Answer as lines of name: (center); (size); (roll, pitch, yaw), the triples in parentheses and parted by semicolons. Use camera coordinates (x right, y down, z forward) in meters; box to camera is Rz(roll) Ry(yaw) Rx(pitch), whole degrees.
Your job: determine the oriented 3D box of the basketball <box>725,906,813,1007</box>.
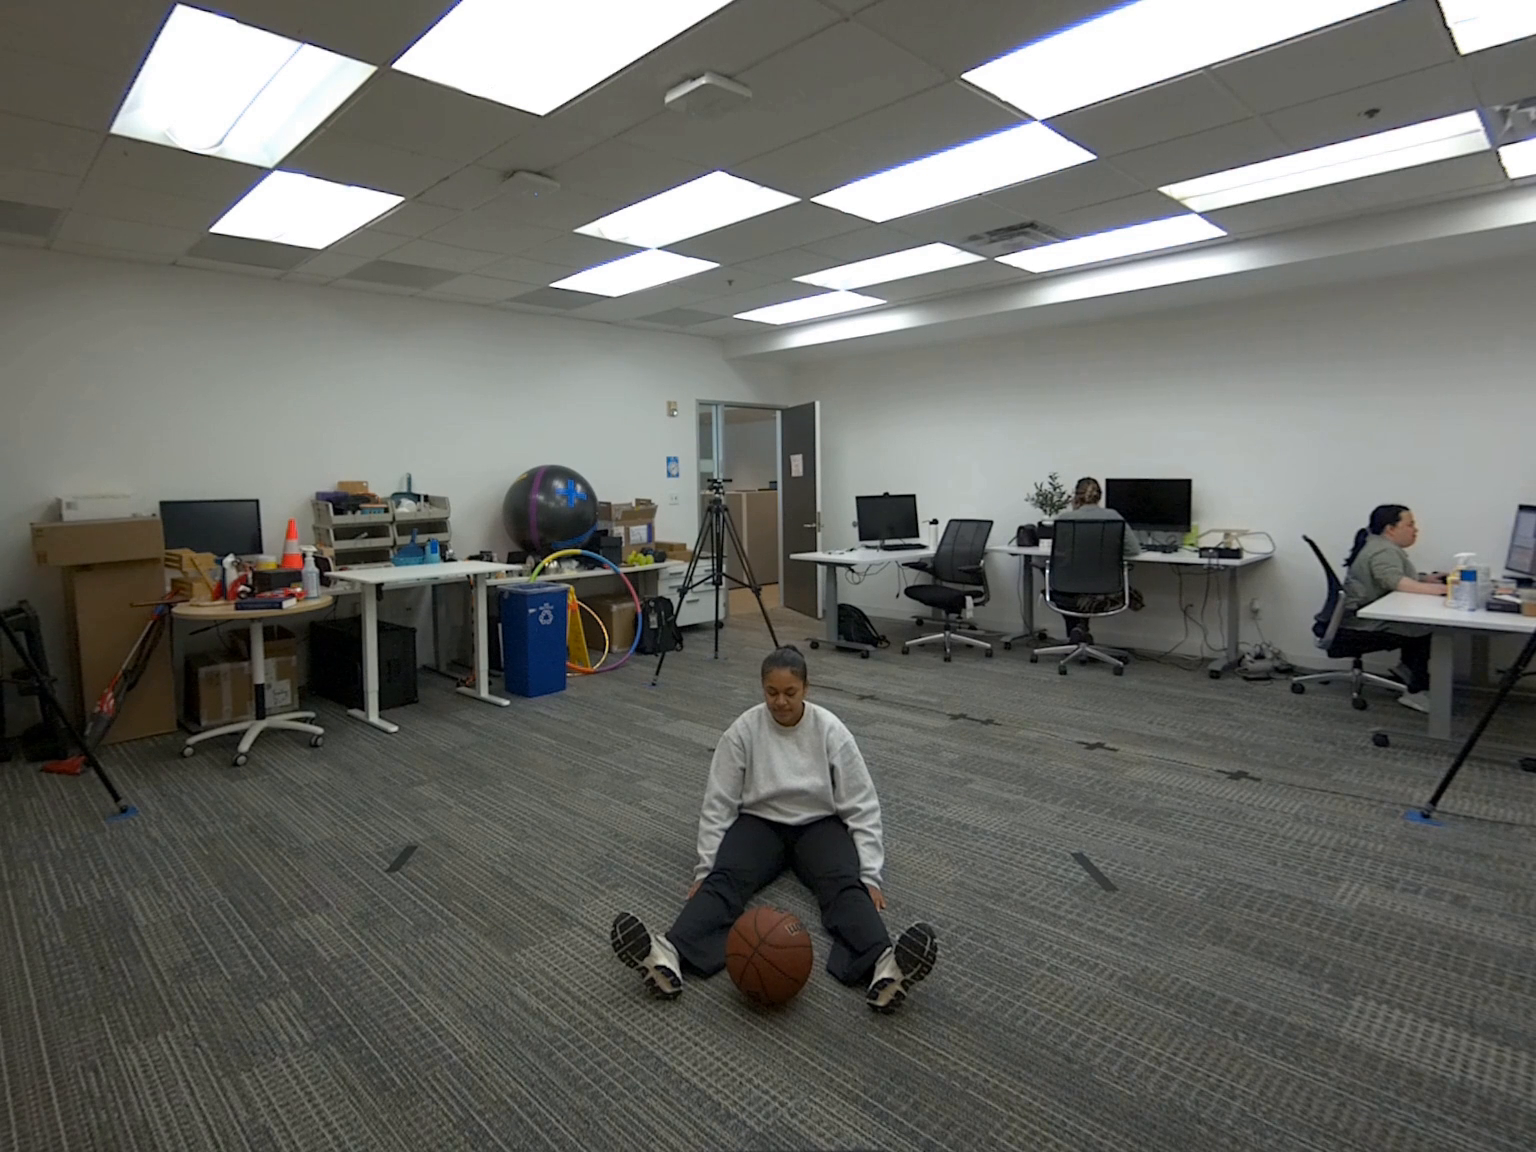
basketball: (0.017, 1.023, 2.301); (0.236, 0.235, 0.237); (-1, 5, -2)
